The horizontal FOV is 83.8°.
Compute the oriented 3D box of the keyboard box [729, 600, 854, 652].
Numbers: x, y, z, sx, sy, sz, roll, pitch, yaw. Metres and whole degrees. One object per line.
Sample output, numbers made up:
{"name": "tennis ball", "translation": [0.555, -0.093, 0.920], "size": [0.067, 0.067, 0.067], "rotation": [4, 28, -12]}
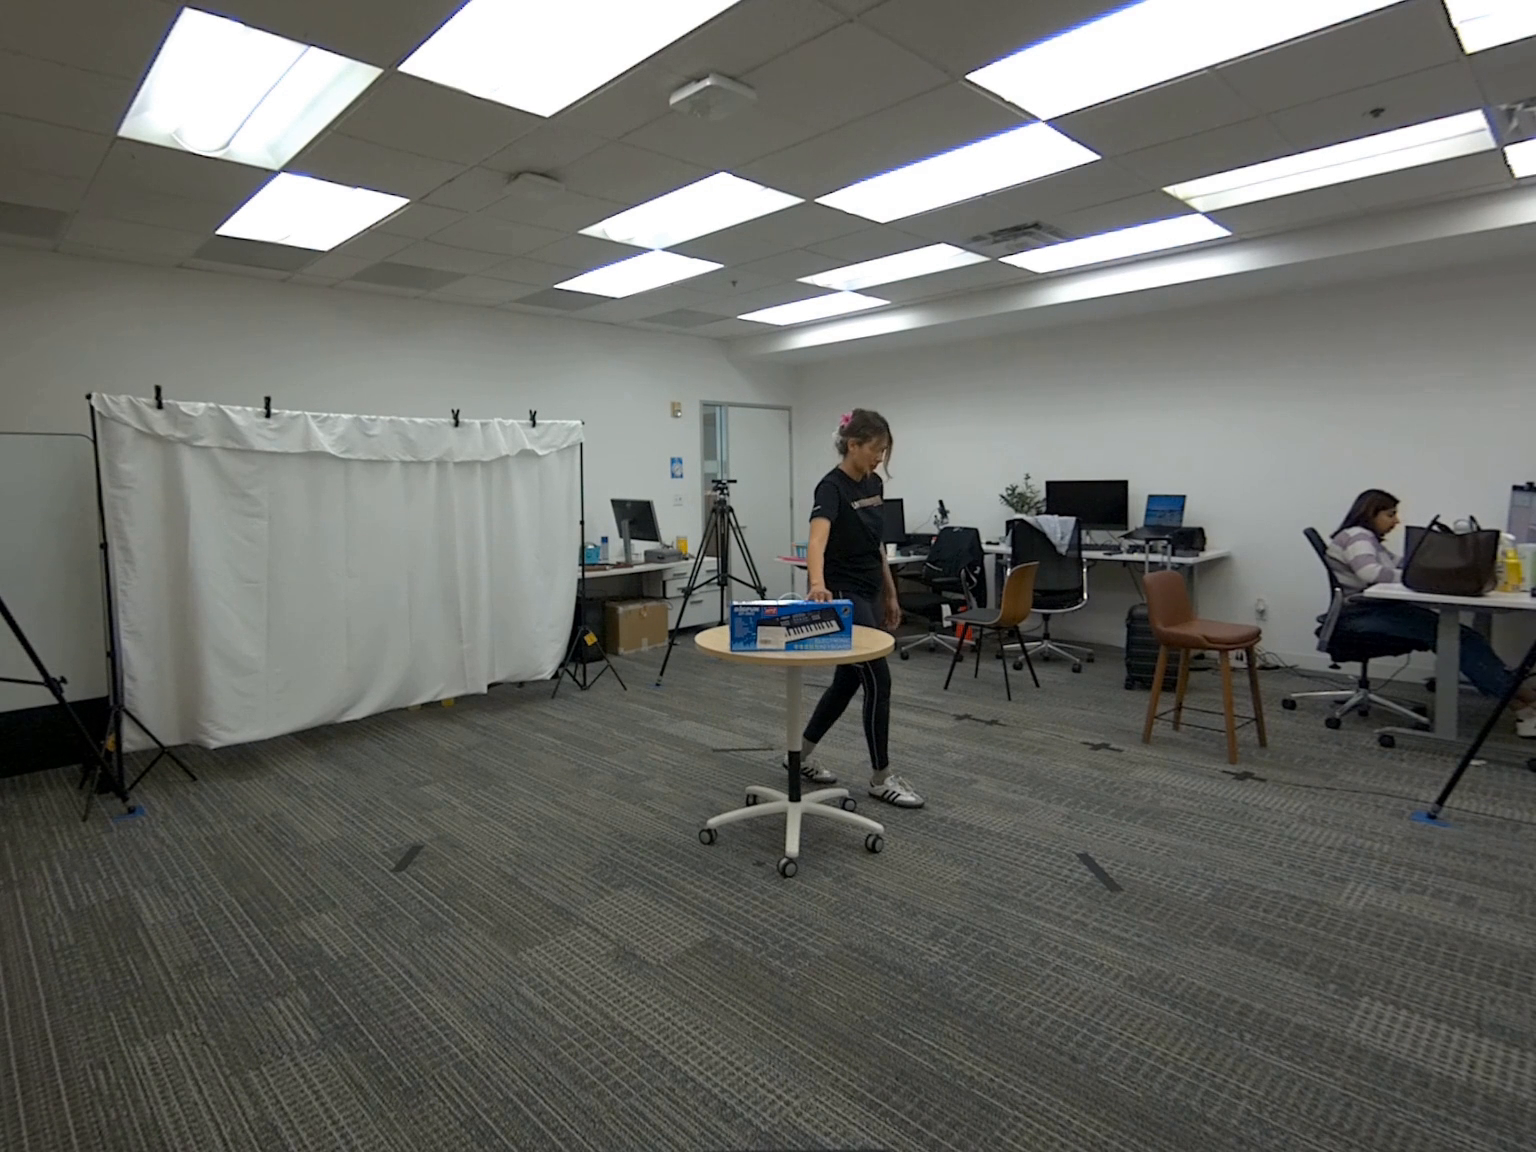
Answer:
{"name": "keyboard box", "translation": [0.088, 0.178, 3.060], "size": [0.436, 0.175, 0.059], "rotation": [-1, 6, -2]}
